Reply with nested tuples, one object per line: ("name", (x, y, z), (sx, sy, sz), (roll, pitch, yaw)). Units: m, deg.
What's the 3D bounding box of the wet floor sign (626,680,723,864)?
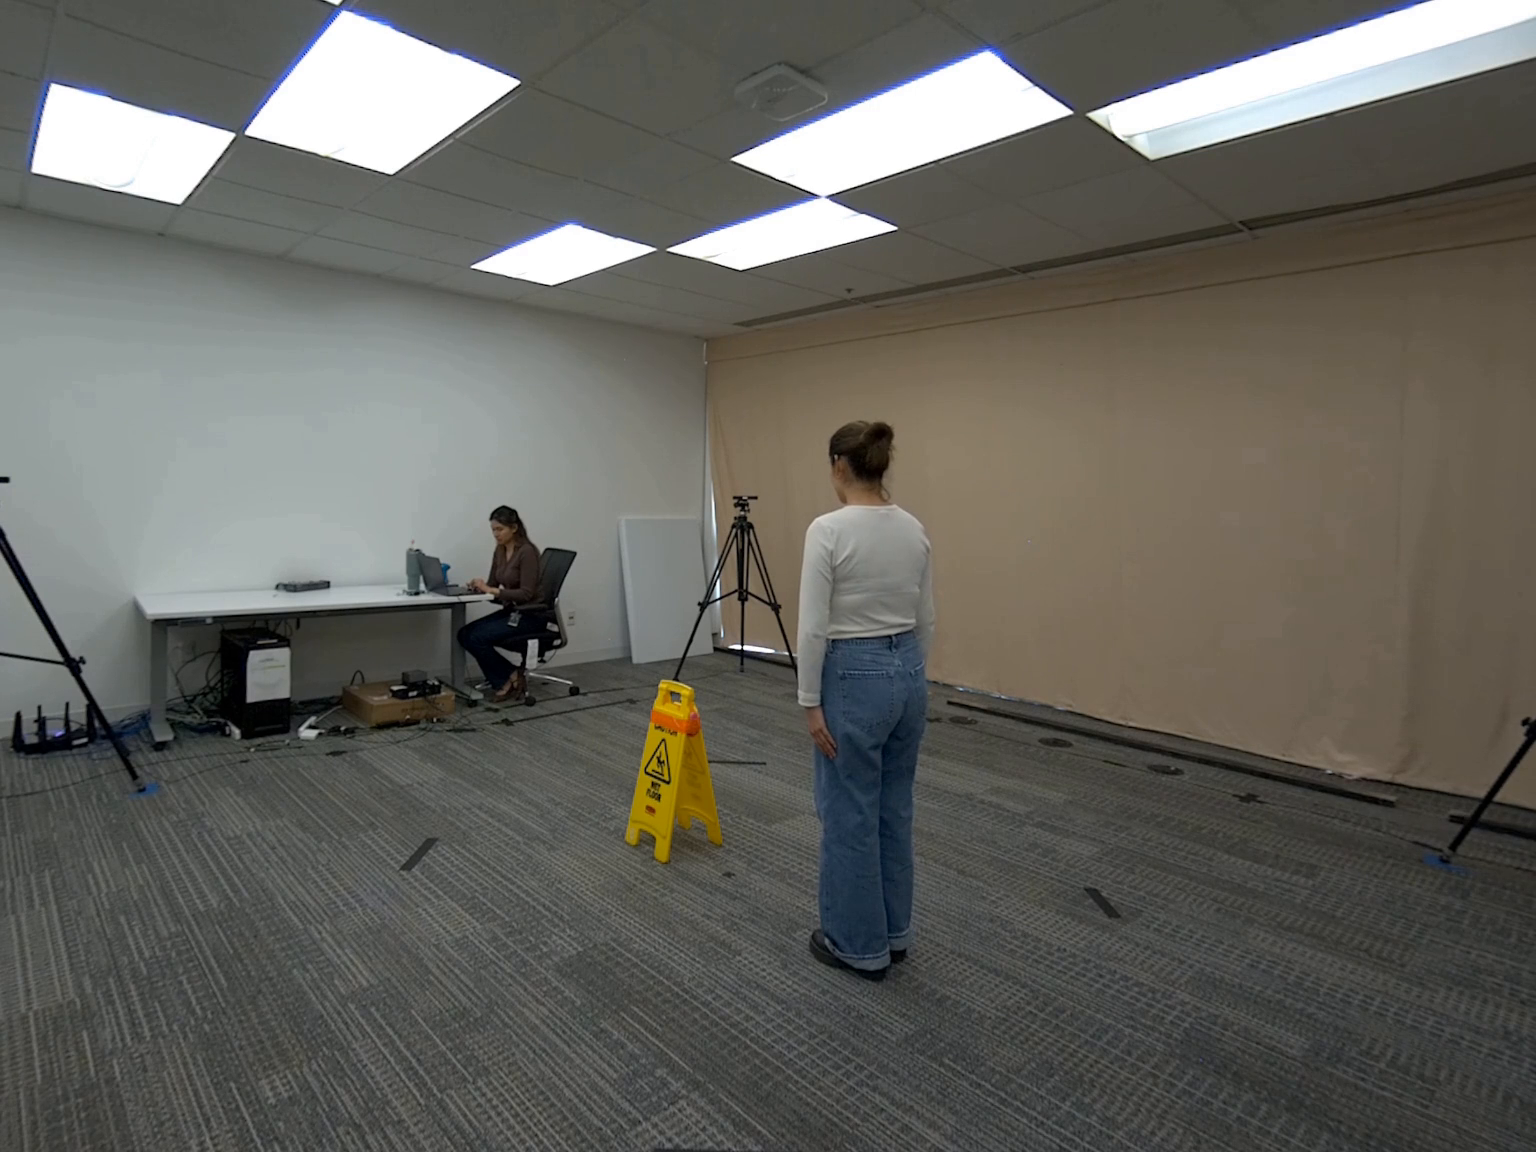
("wet floor sign", (-0.378, 0.750, 3.368), (0.283, 0.644, 0.289), (-1, 4, -43))
